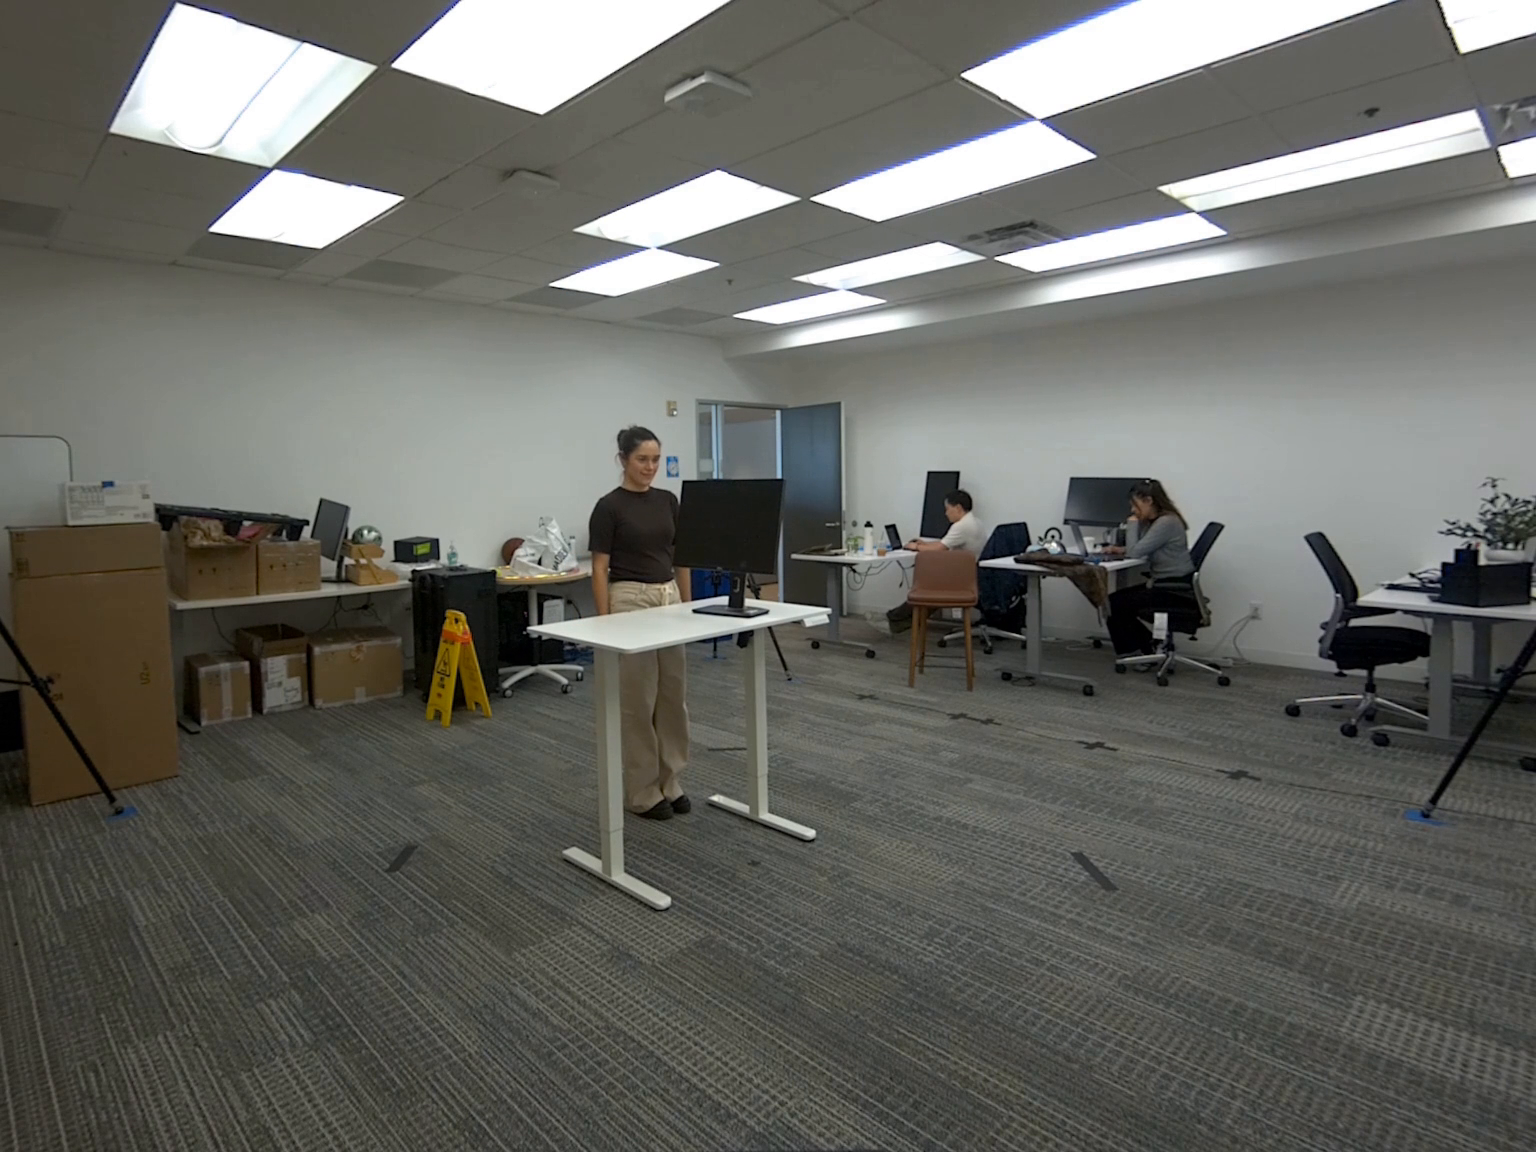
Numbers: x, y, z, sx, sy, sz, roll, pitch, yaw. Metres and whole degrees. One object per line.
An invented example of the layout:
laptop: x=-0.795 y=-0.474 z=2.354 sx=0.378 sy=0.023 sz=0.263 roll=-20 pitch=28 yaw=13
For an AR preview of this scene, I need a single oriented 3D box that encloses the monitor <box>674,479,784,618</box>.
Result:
monitor: x=-0.139 y=-0.110 z=3.278 sx=0.556 sy=0.520 sz=0.182 roll=4 pitch=6 yaw=42
